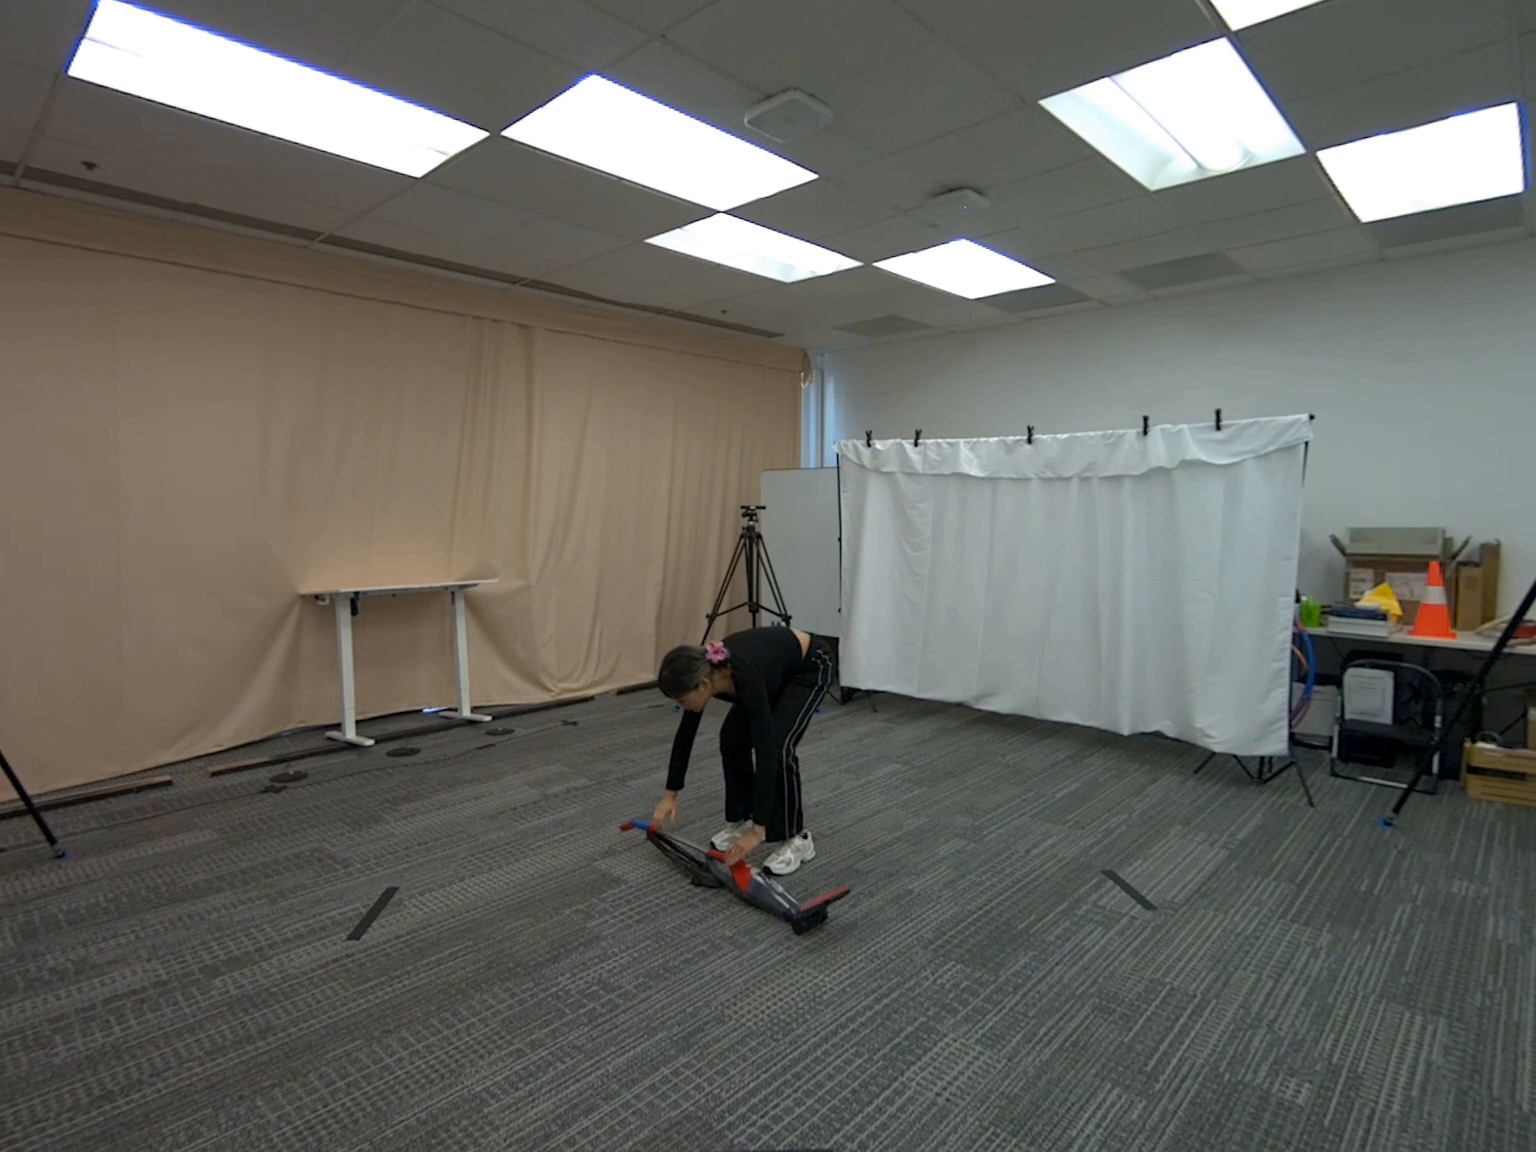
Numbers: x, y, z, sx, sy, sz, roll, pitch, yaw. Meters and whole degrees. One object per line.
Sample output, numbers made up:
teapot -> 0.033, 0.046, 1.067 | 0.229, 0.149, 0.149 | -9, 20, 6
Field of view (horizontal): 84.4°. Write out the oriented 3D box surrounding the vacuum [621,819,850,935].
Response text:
vacuum -> -0.219, 1.076, 3.114 | 1.084, 0.144, 0.244 | 3, 0, 43
